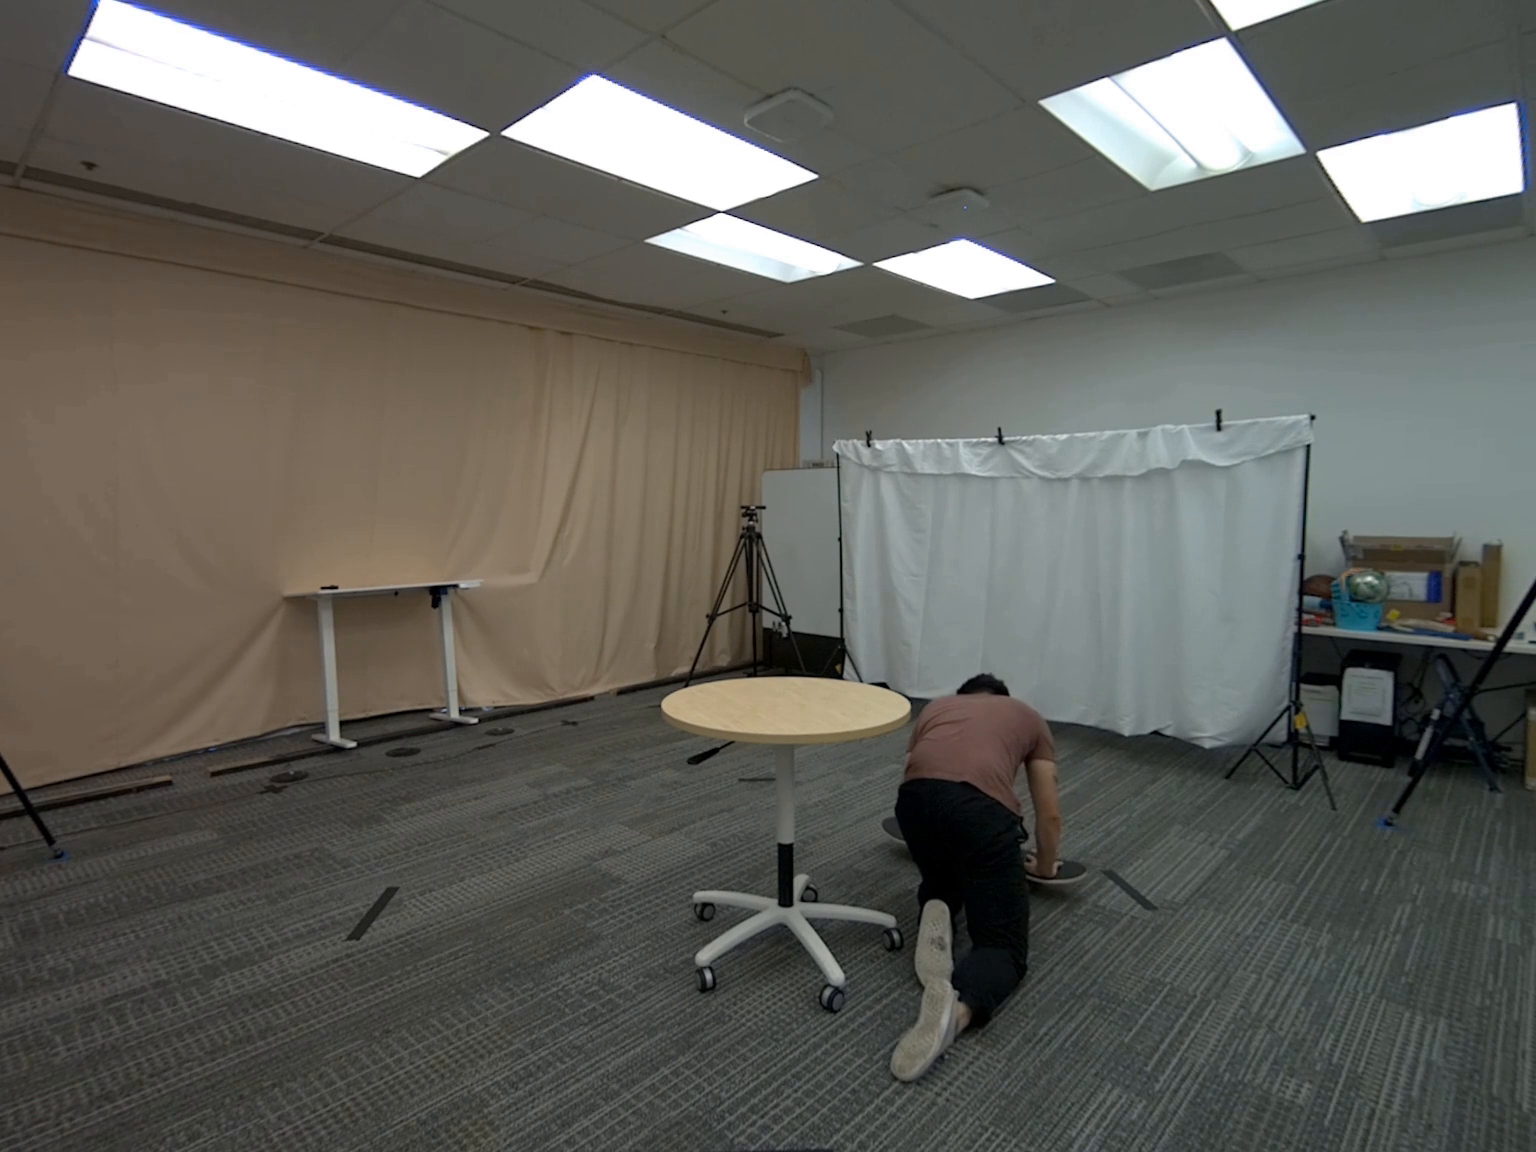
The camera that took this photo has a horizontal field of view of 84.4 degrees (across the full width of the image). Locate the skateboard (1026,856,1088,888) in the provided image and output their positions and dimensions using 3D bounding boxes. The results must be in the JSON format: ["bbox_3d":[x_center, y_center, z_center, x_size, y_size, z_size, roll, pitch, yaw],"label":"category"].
[{"bbox_3d":[0.790,1.065,3.211,0.811,0.110,0.188,4,7,39],"label":"skateboard"}]
